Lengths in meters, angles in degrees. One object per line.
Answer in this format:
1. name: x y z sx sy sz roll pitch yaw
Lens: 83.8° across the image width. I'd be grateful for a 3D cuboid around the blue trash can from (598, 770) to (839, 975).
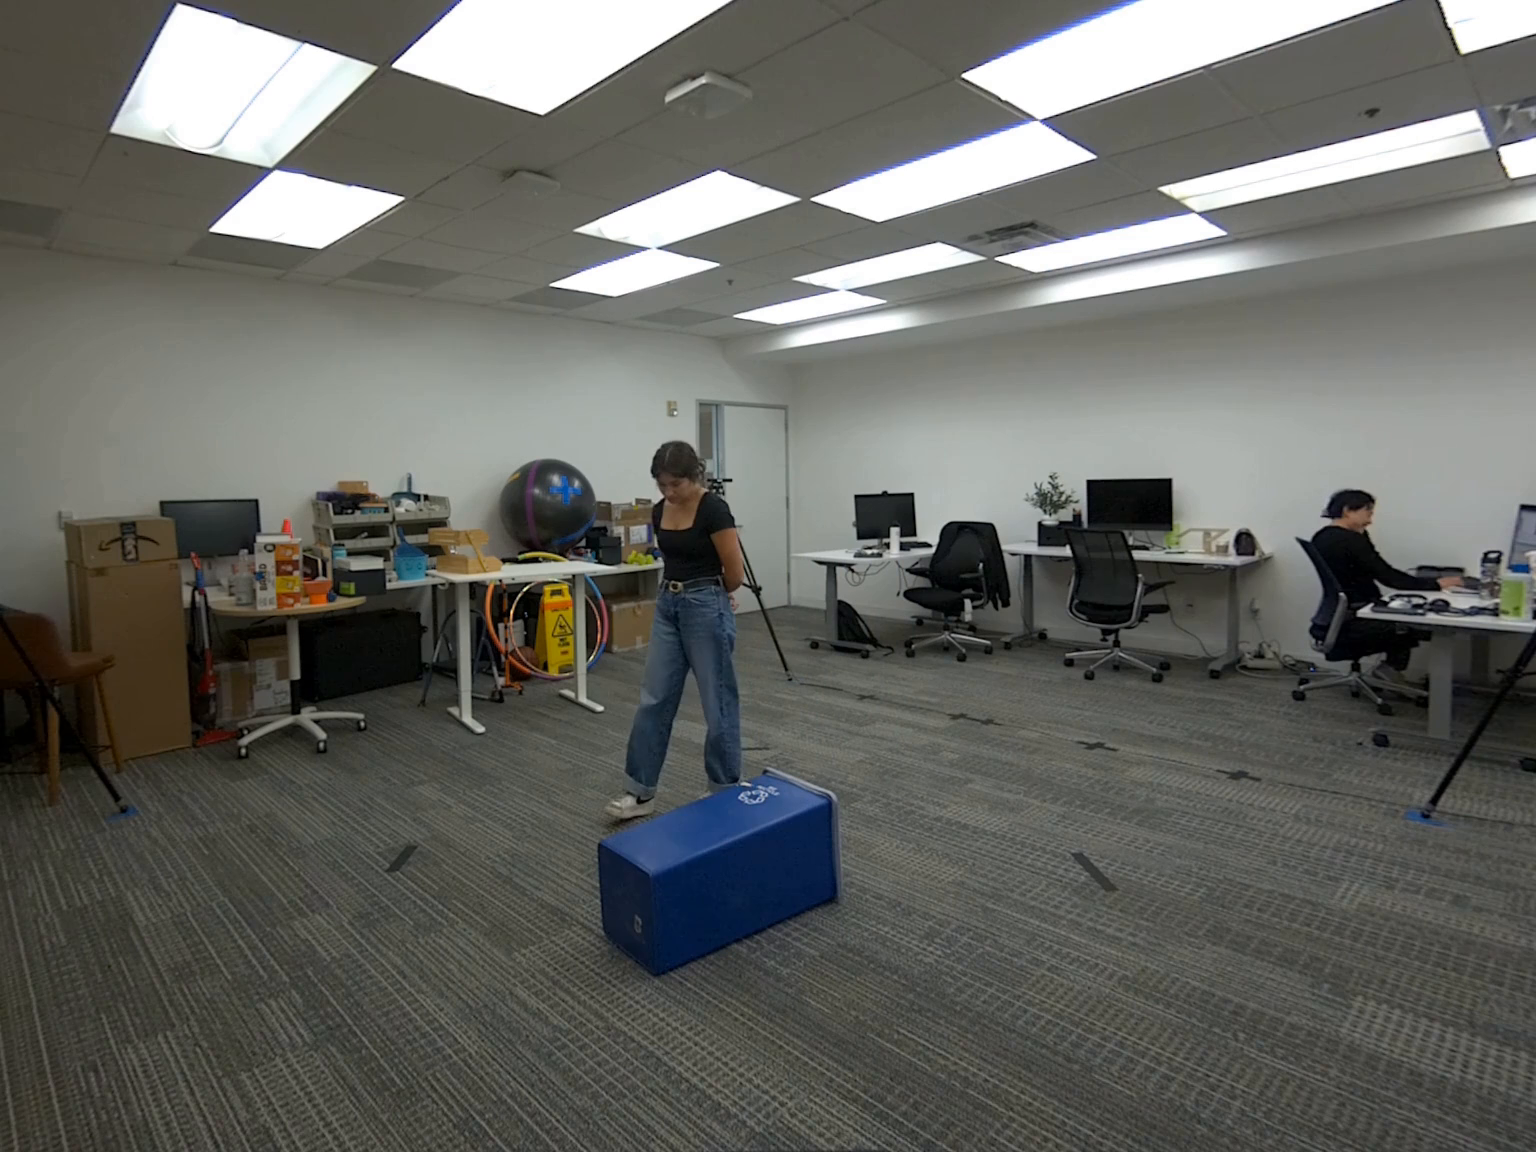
1. blue trash can: -0.141 0.926 2.714 0.697 0.375 0.386 -10 10 -40
